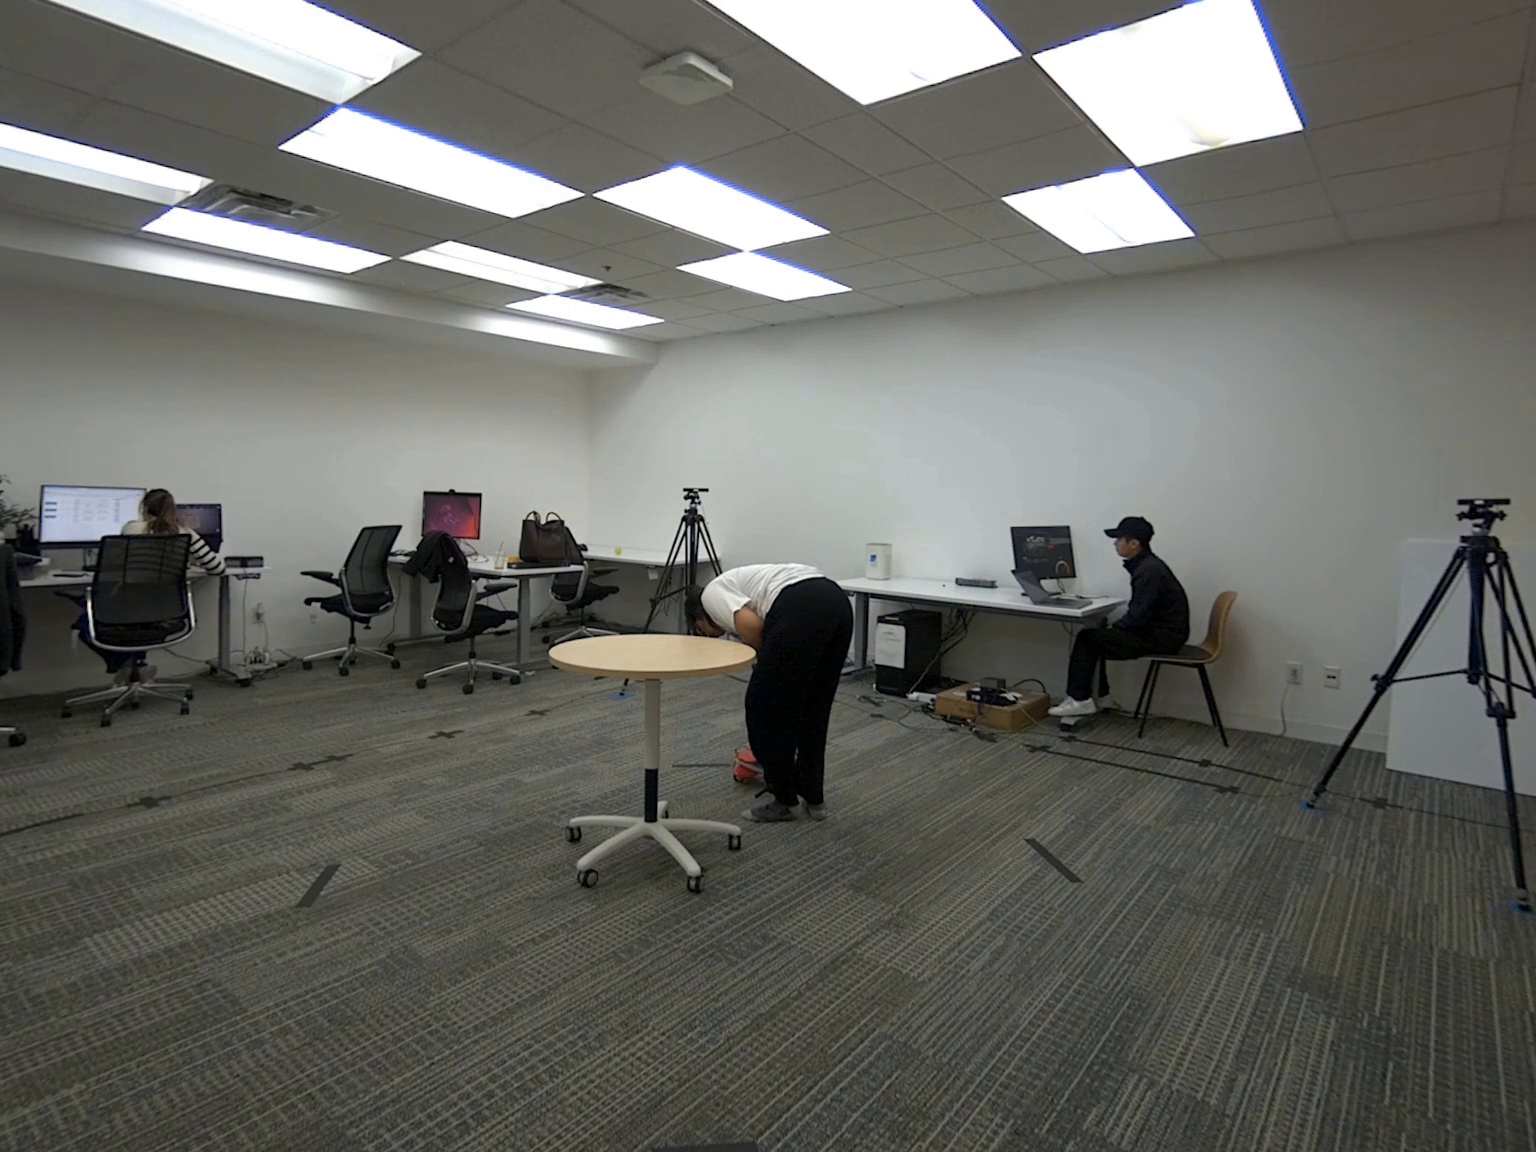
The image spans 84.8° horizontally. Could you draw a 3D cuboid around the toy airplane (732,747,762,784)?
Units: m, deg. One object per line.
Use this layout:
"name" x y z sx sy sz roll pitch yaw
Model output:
"toy airplane" -0.053 0.904 4.072 0.258 0.156 0.253 0 4 -3
